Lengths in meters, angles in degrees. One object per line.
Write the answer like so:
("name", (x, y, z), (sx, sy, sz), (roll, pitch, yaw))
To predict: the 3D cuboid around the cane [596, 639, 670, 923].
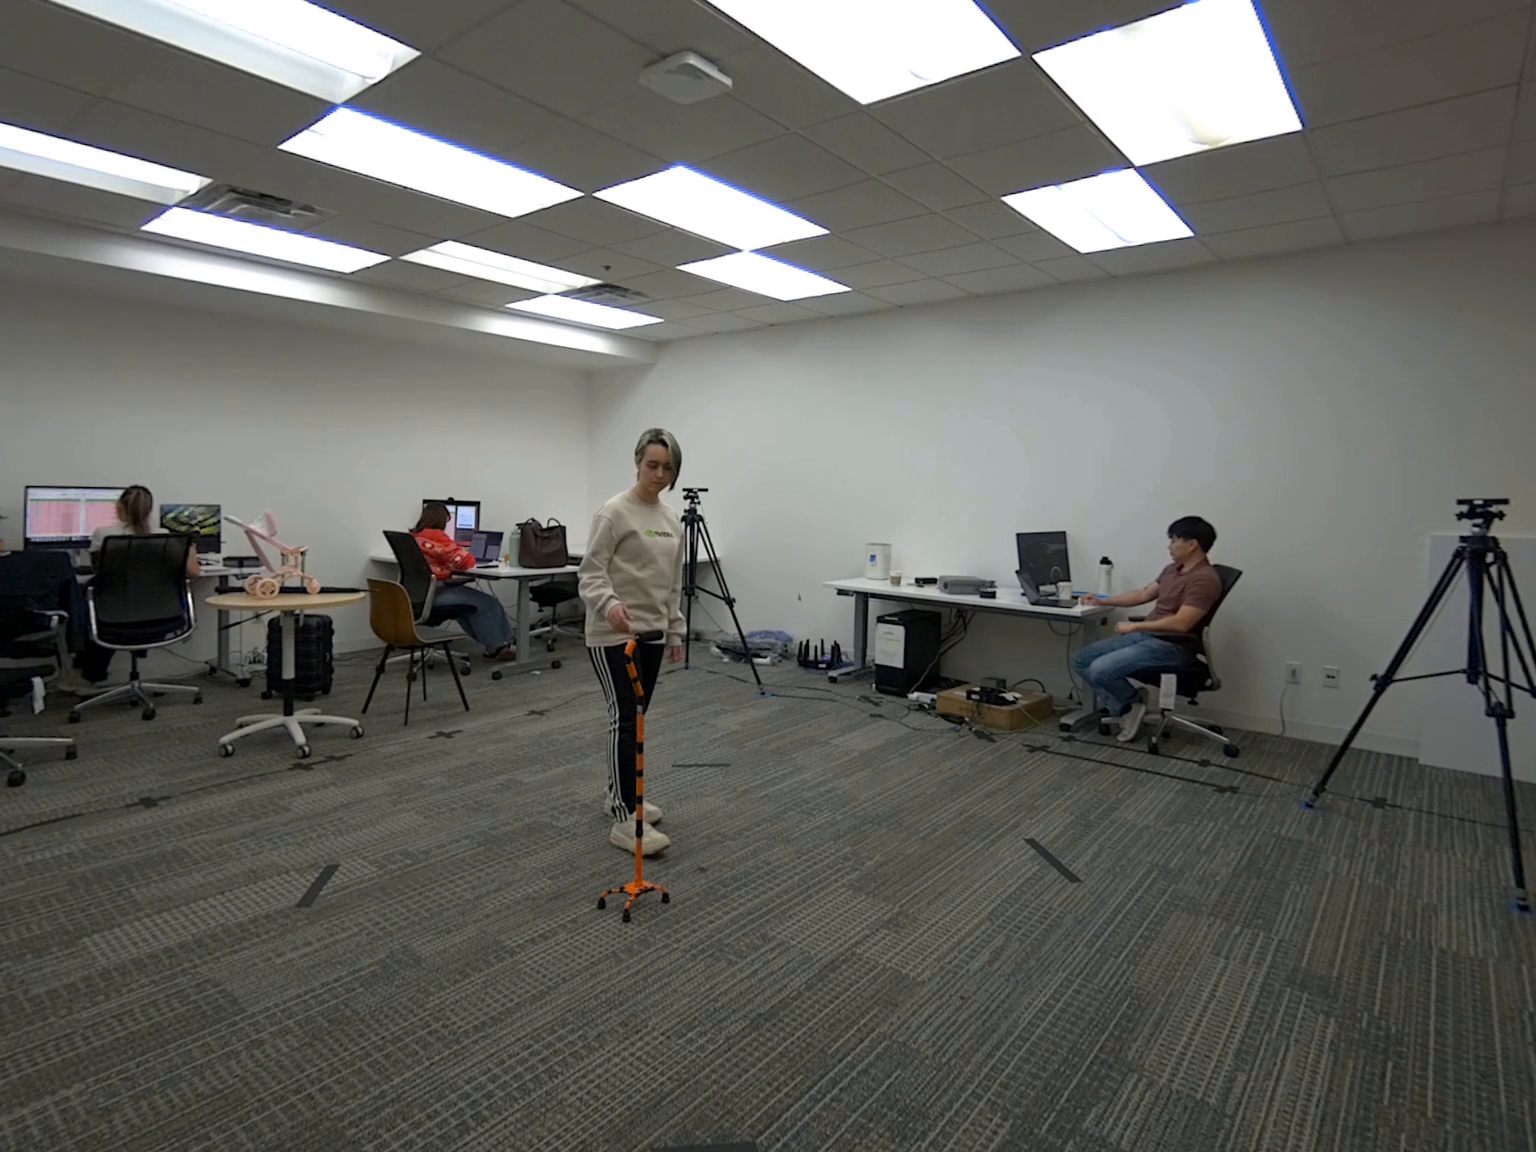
("cane", (-0.436, 0.641, 2.808), (0.157, 0.905, 0.200), (5, 4, 41))
